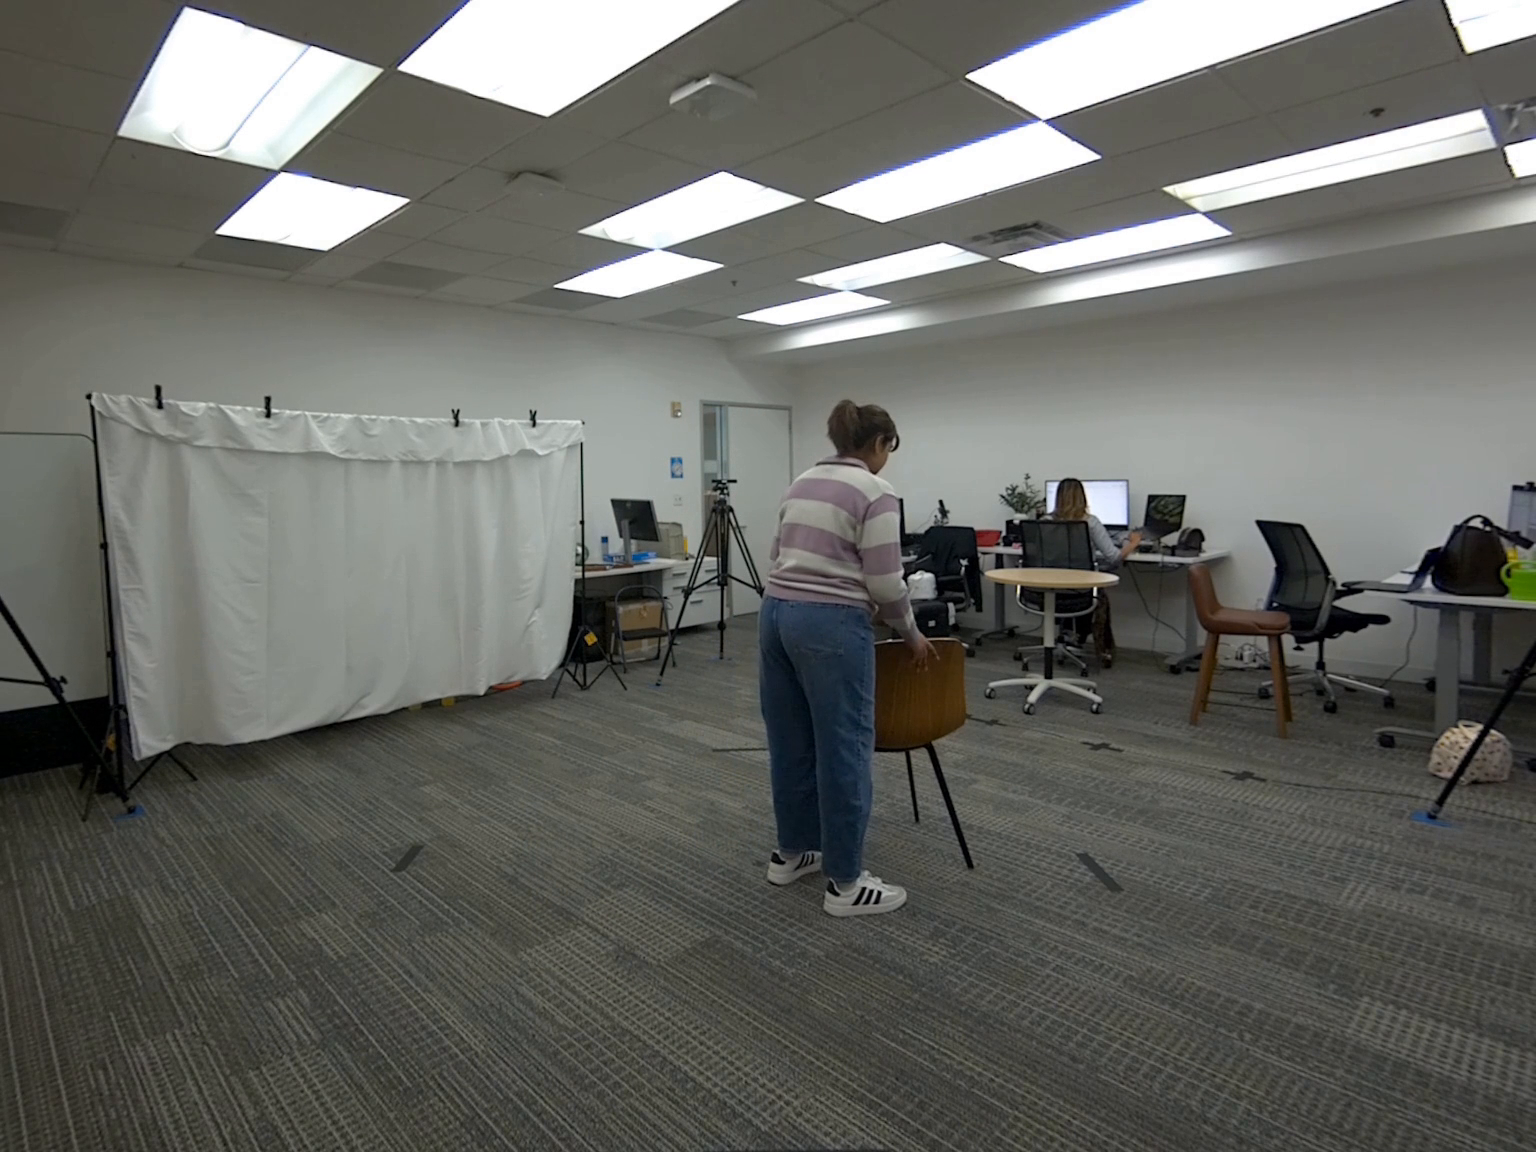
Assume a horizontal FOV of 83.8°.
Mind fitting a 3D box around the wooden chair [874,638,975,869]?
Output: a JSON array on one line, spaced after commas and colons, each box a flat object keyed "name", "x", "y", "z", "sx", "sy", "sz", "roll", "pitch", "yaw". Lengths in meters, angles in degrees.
[{"name": "wooden chair", "x": 0.445, "y": 0.605, "z": 3.193, "sx": 0.472, "sy": 0.871, "sz": 0.534, "roll": -3, "pitch": 8, "yaw": -14}]
